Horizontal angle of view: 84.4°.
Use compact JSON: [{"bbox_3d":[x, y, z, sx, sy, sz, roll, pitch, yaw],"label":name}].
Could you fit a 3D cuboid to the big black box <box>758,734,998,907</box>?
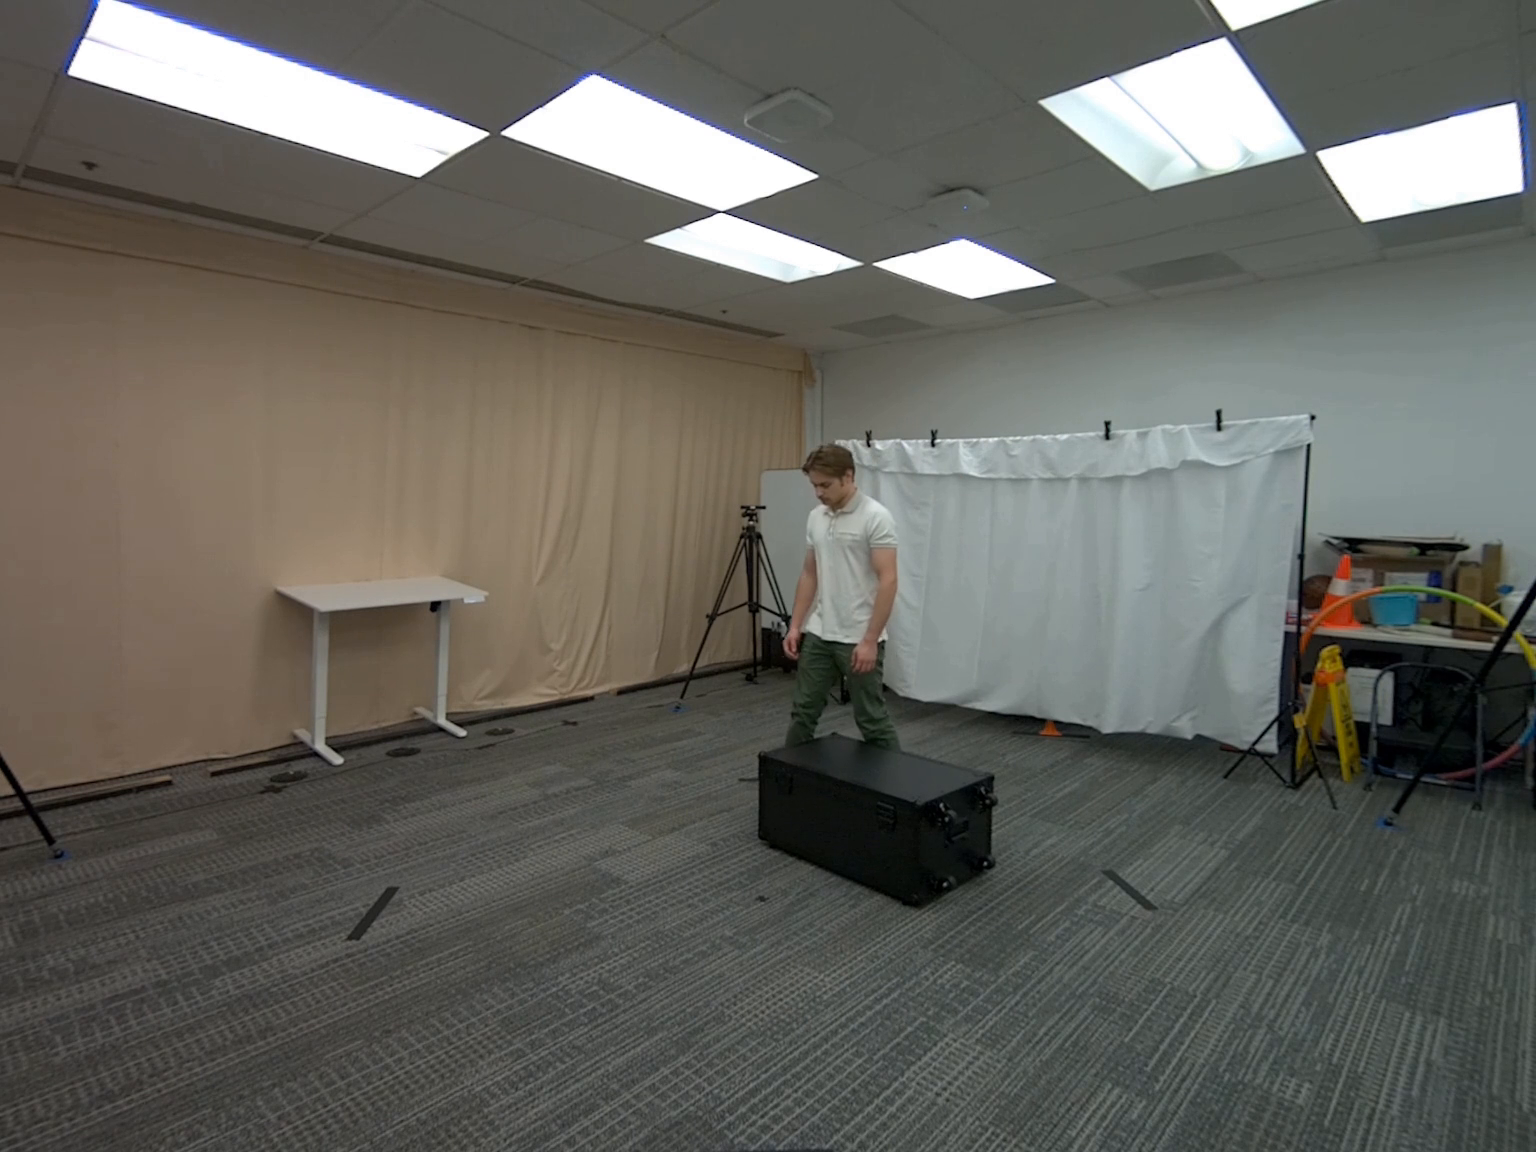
[{"bbox_3d":[0.431,0.927,3.291,0.505,0.395,0.890,-4,5,-45],"label":"big black box"}]
